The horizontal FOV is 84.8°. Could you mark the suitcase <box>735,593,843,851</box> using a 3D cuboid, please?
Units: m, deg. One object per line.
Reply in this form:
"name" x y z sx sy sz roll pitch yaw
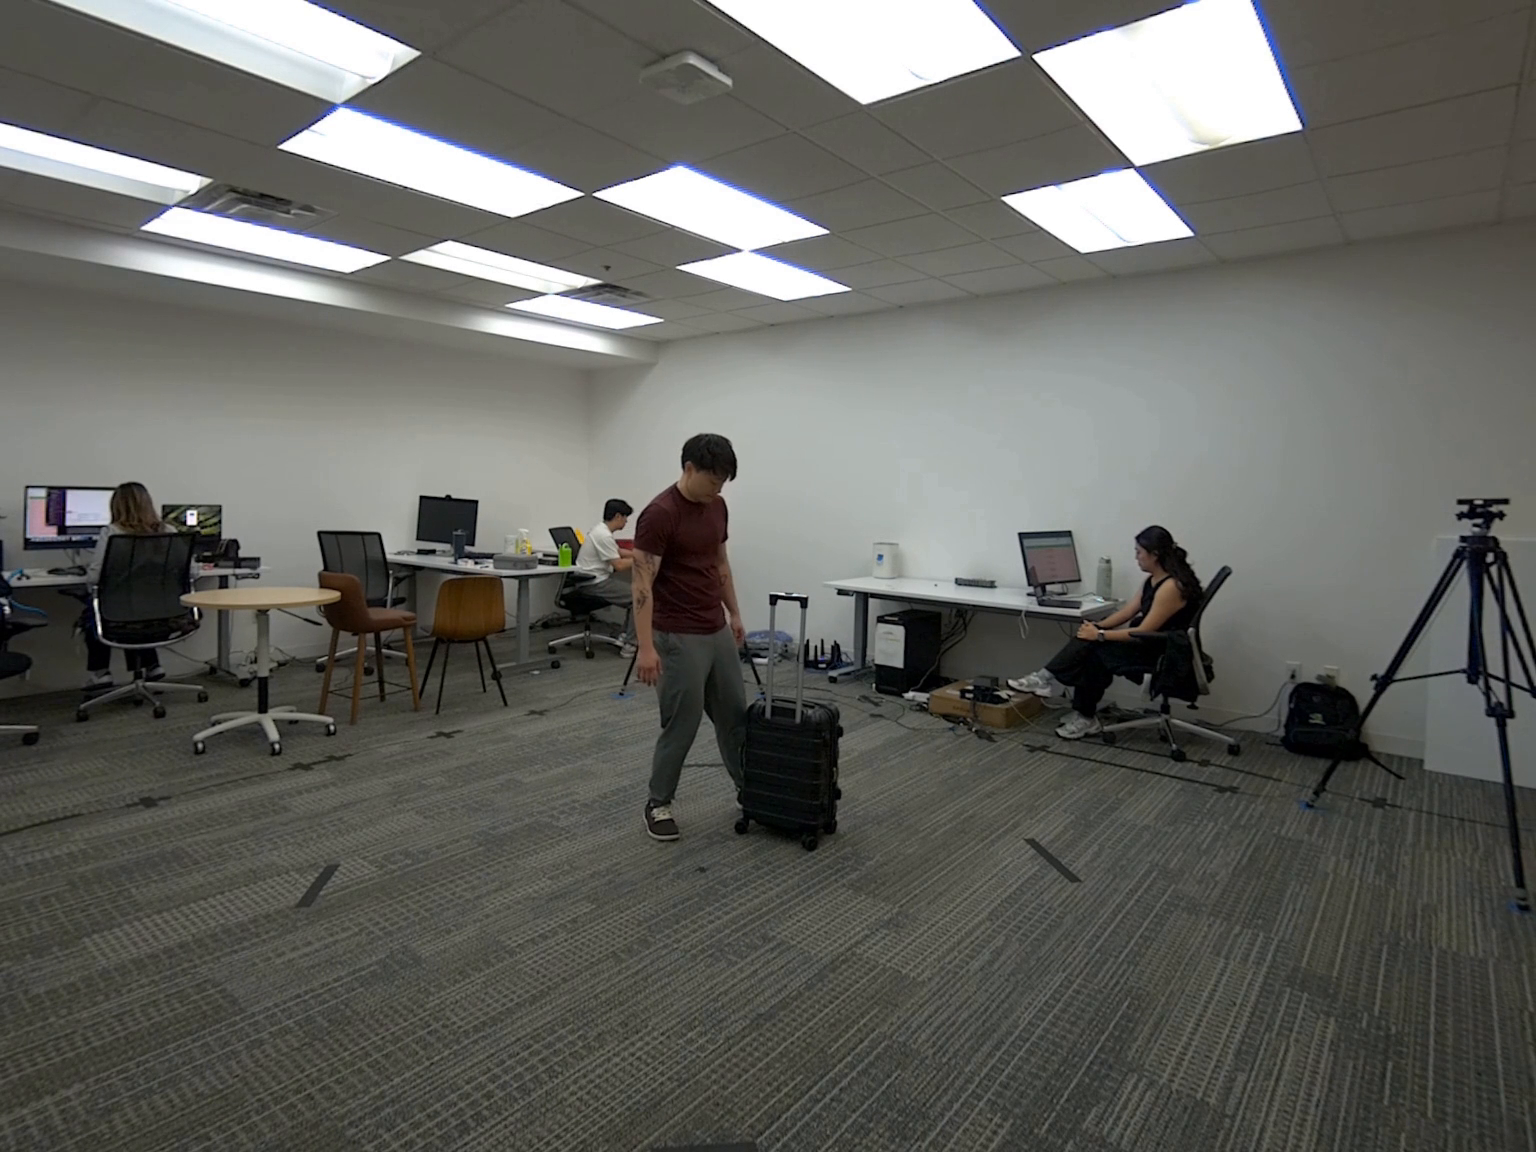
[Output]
"suitcase" 0.091 0.563 3.459 0.394 0.978 0.250 3 1 26
